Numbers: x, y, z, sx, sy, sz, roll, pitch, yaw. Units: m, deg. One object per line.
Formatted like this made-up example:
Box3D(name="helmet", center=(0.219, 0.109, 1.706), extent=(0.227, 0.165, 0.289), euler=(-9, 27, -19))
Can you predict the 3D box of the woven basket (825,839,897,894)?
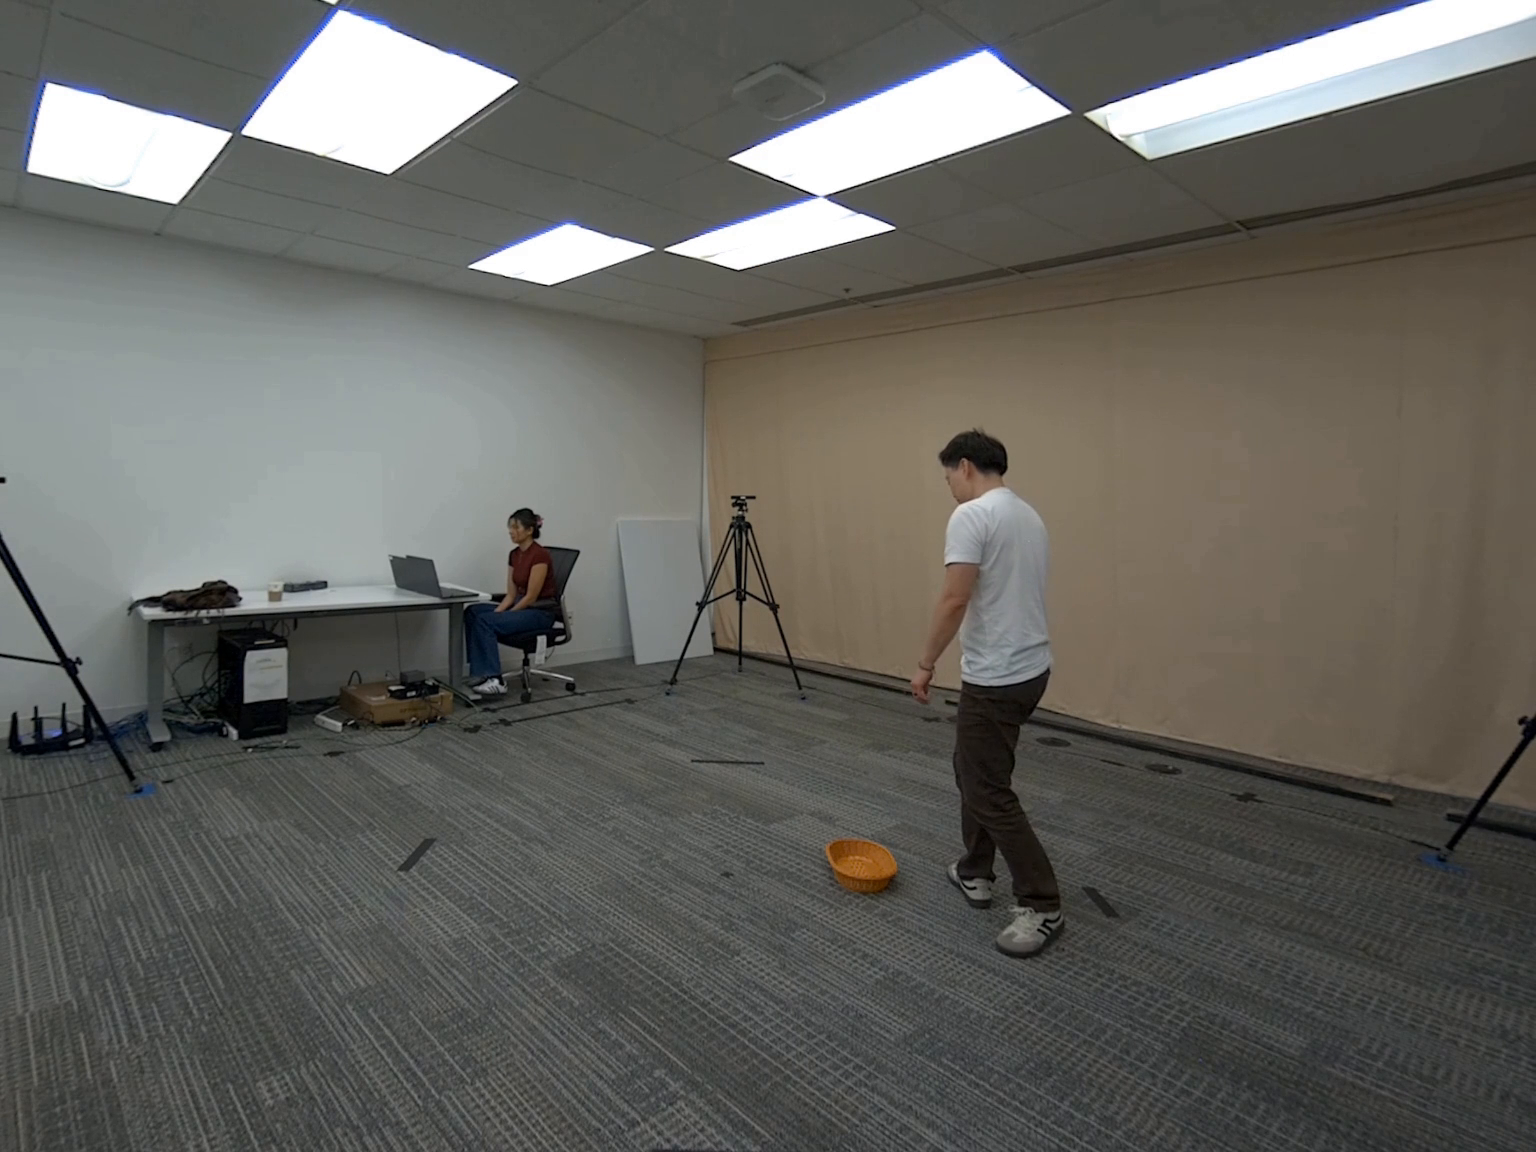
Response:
Box3D(name="woven basket", center=(0.337, 1.072, 3.116), extent=(0.252, 0.073, 0.352), euler=(1, 5, -4))
